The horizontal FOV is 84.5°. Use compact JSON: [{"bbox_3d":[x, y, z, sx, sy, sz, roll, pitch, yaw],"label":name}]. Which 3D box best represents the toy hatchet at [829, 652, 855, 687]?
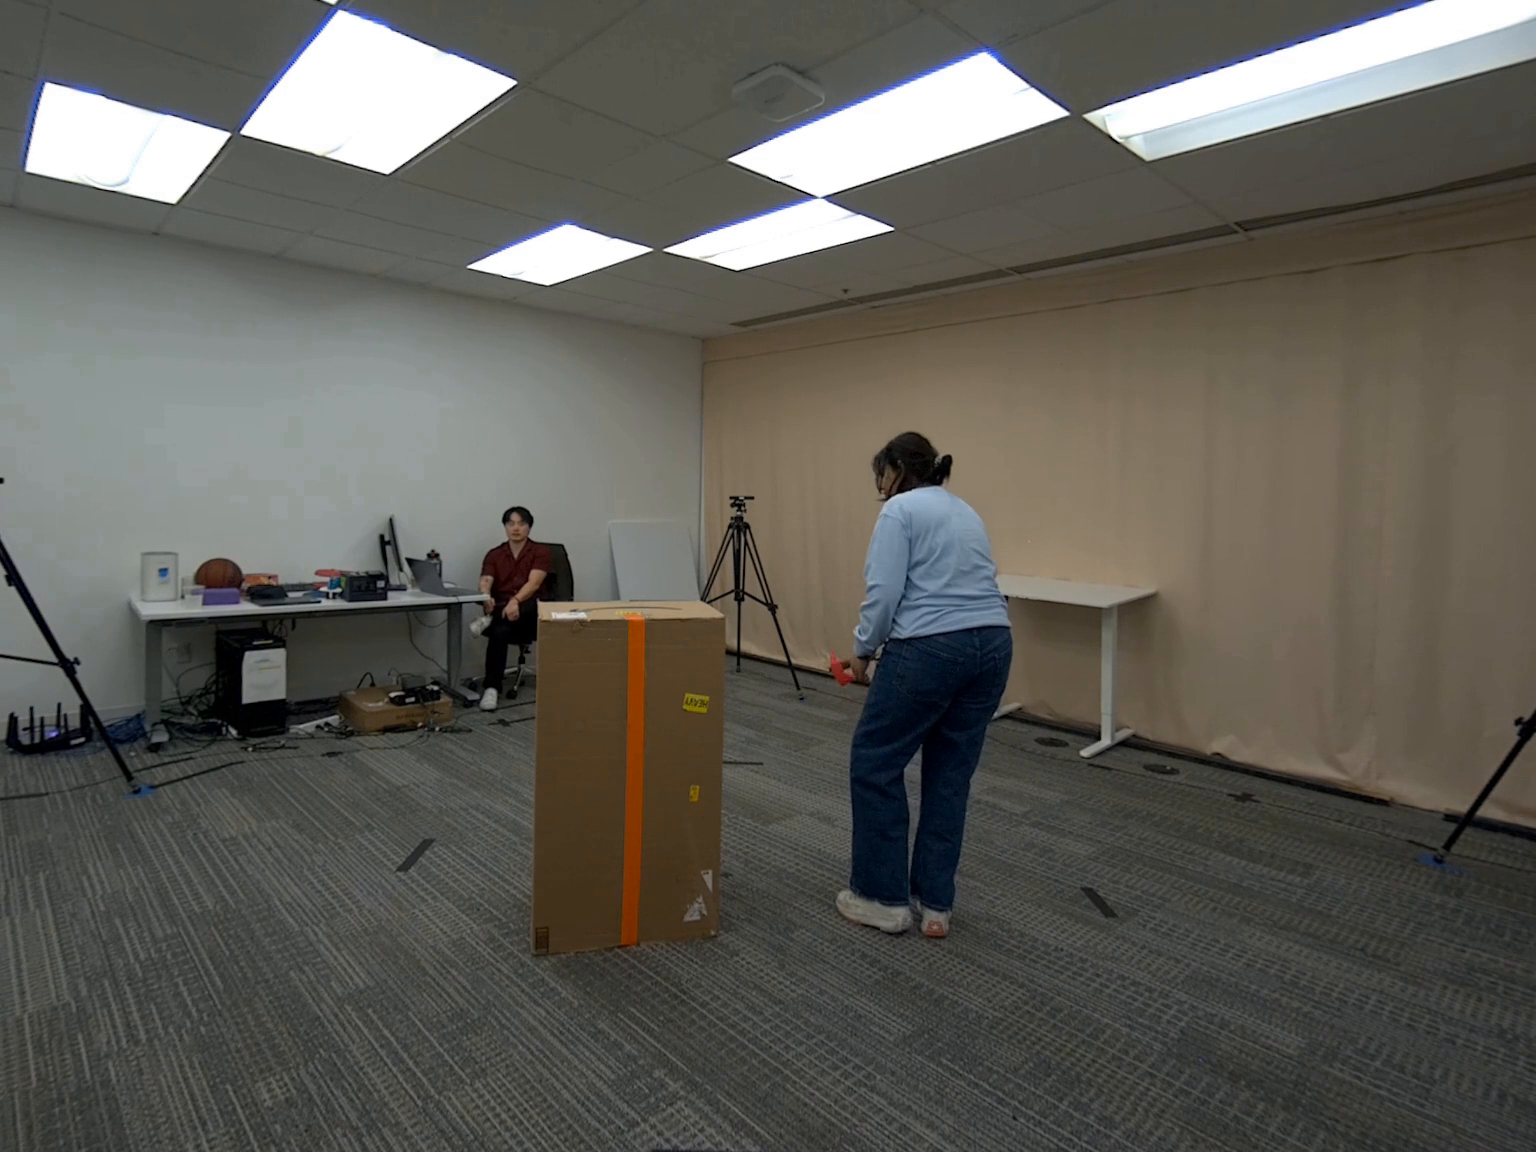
[{"bbox_3d":[0.367,0.351,3.044,0.274,0.131,0.029,2,-5,19],"label":"toy hatchet"}]
